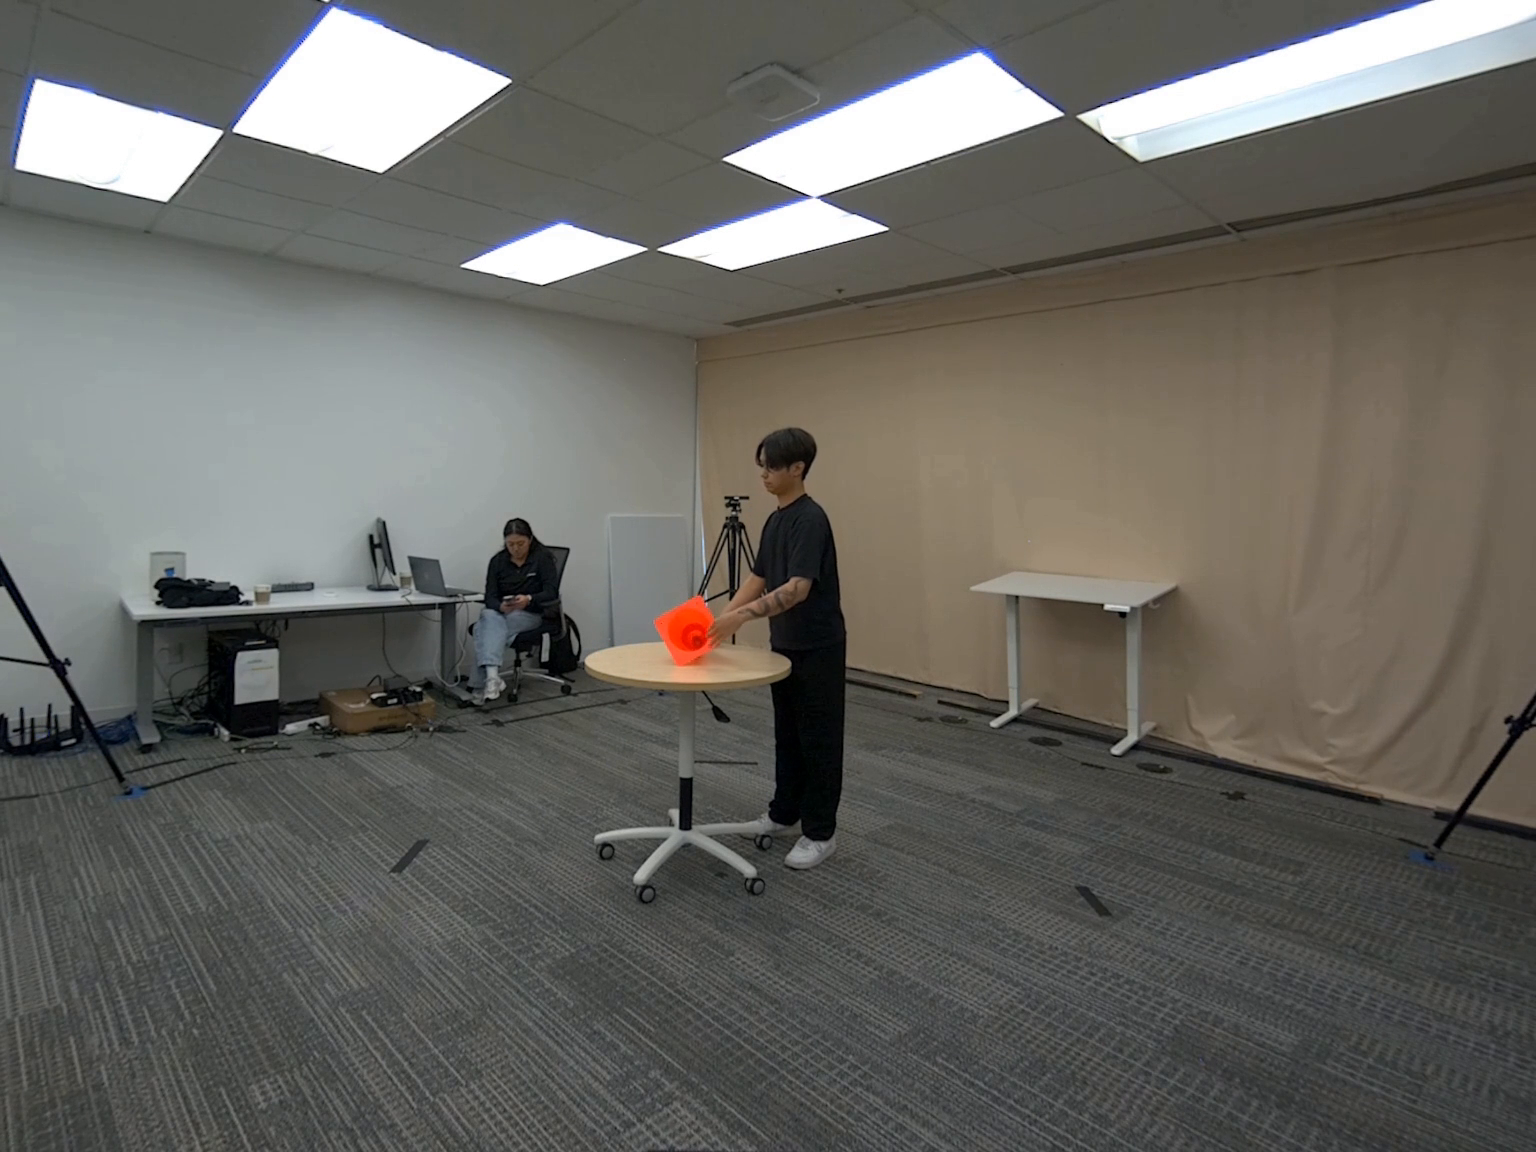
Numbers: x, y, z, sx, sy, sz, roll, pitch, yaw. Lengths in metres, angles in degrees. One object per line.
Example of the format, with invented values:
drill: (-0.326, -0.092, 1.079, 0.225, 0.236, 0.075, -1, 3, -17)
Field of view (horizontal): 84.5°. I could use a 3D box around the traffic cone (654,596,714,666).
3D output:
traffic cone: (-0.293, 0.235, 3.246, 0.203, 0.207, 0.380, -28, -10, -6)
